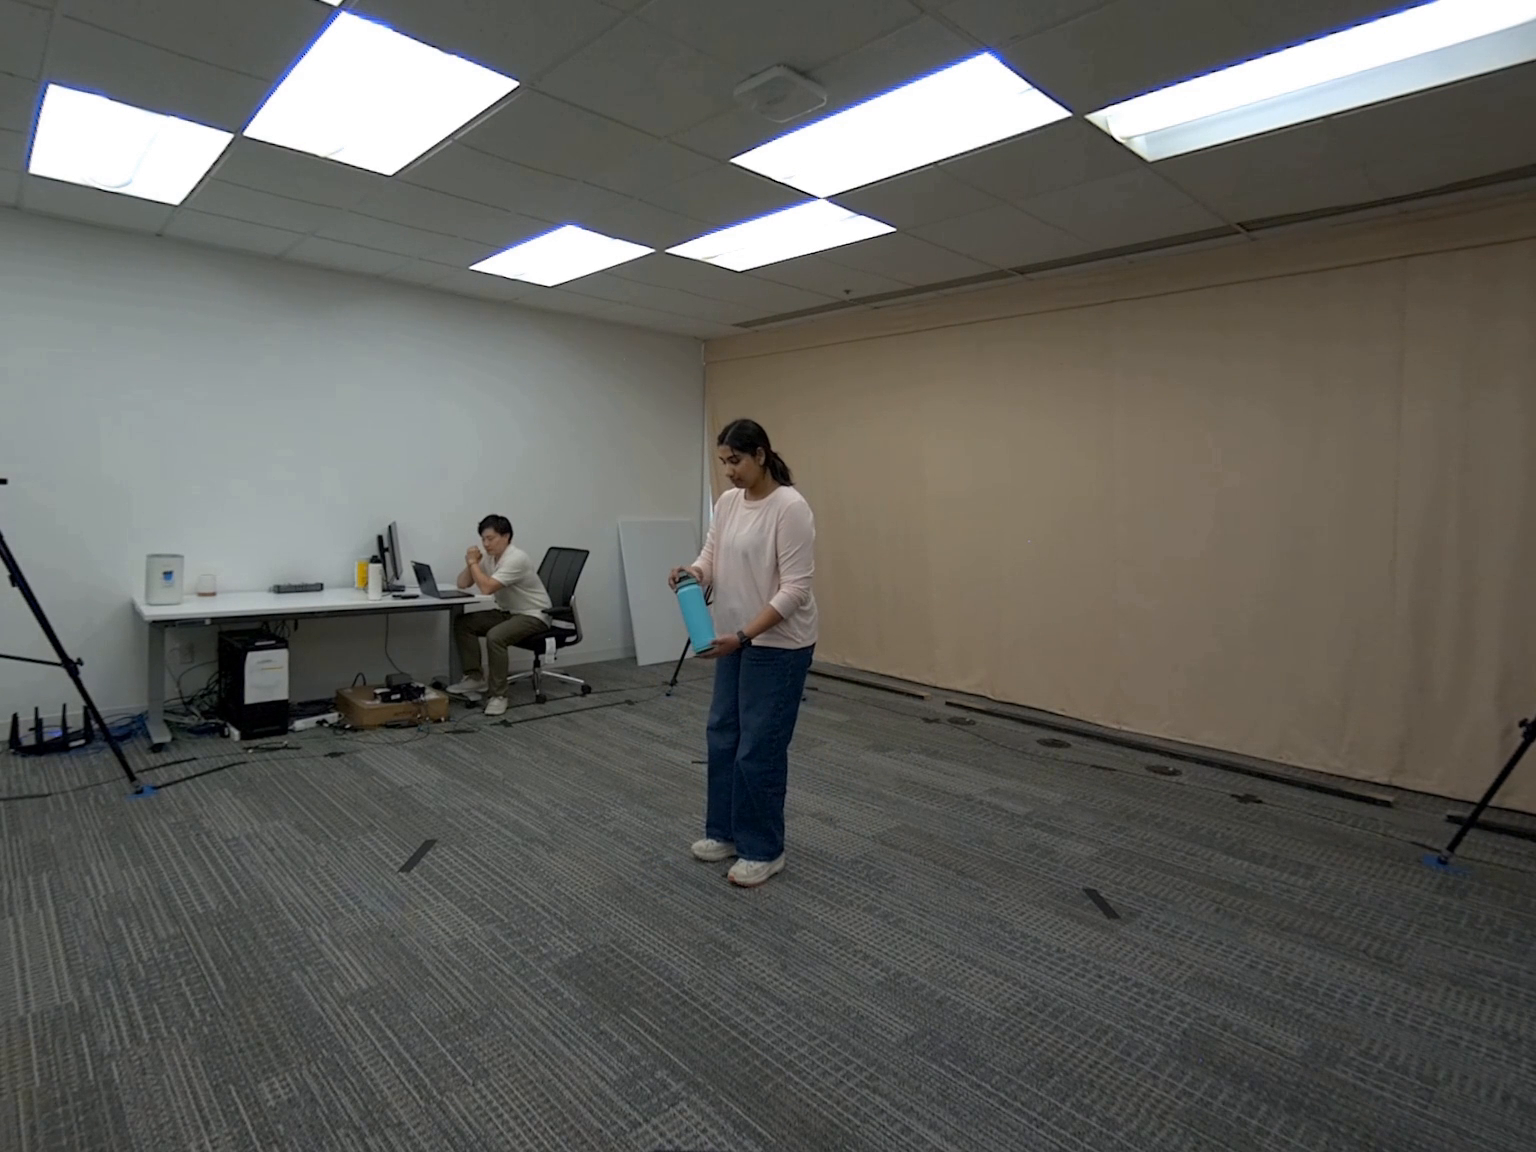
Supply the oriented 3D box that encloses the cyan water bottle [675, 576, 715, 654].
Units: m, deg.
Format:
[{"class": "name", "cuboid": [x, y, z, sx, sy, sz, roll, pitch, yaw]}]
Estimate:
[{"class": "cyan water bottle", "cuboid": [-0.255, 0.127, 2.935, 0.092, 0.287, 0.091, -13, -14, -4]}]
